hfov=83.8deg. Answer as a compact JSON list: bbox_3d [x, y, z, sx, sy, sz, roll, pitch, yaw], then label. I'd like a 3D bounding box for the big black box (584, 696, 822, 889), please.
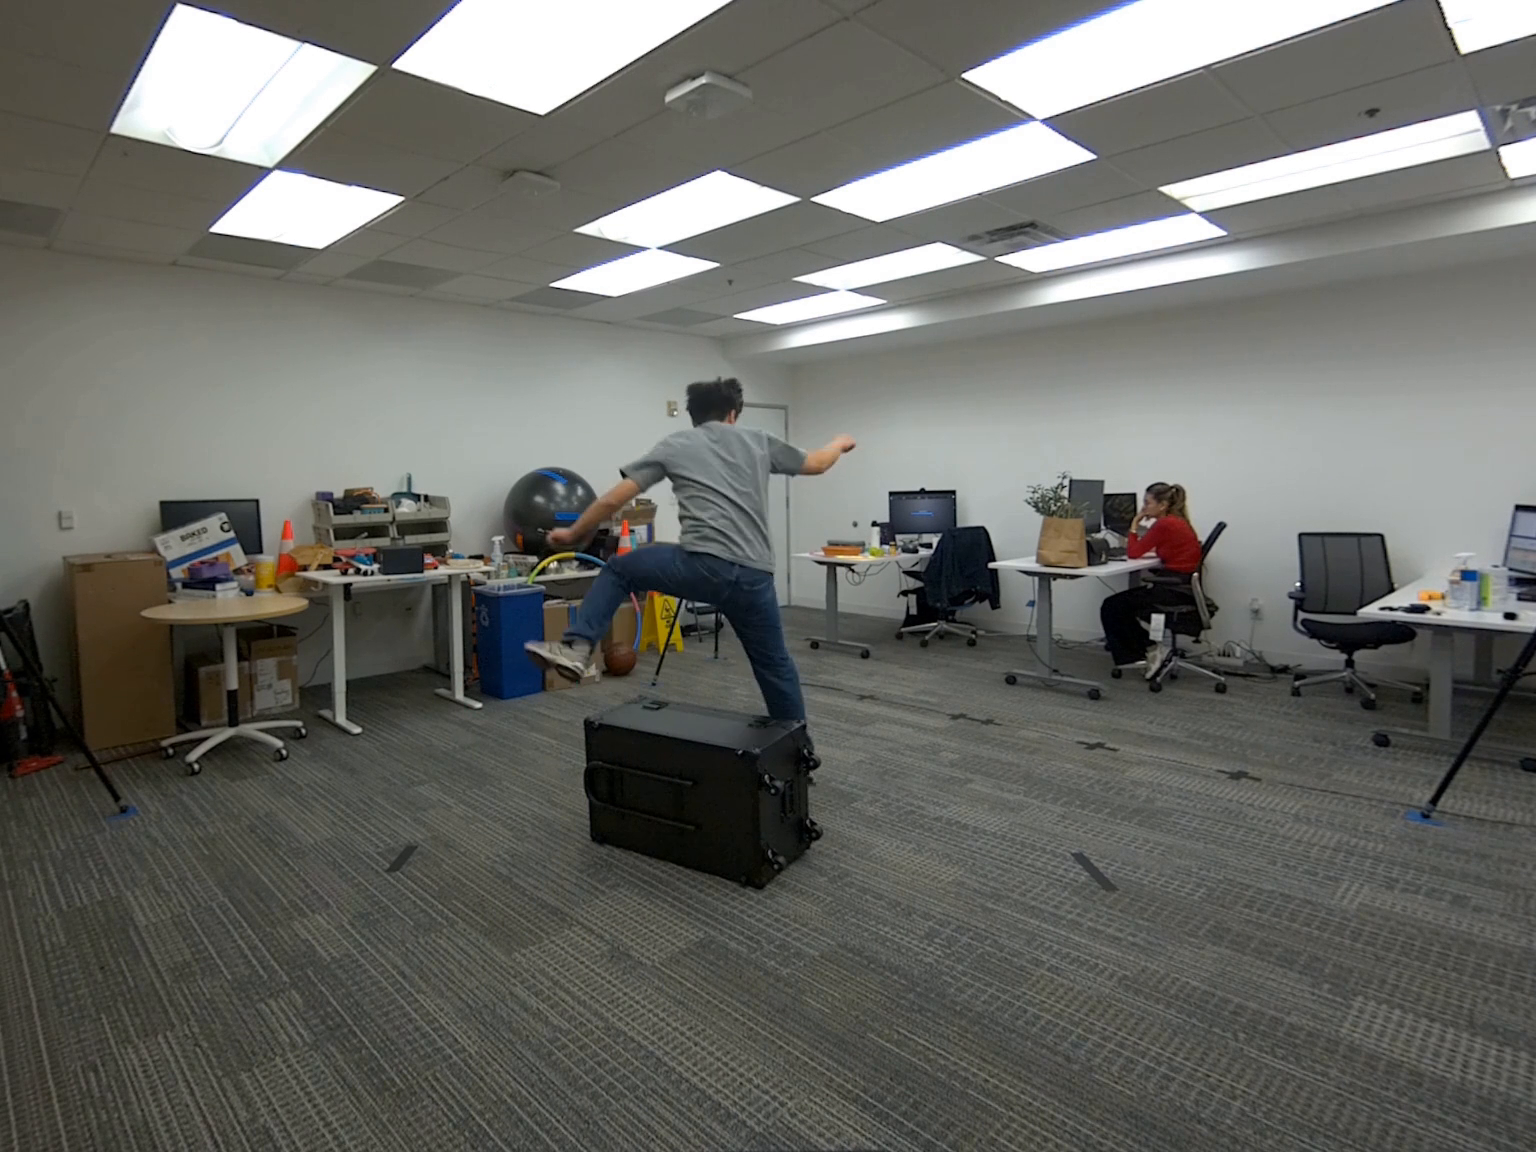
[{"bbox_3d":[-0.257,0.781,3.208,0.885,0.518,0.388,2,8,32],"label":"big black box"}]
